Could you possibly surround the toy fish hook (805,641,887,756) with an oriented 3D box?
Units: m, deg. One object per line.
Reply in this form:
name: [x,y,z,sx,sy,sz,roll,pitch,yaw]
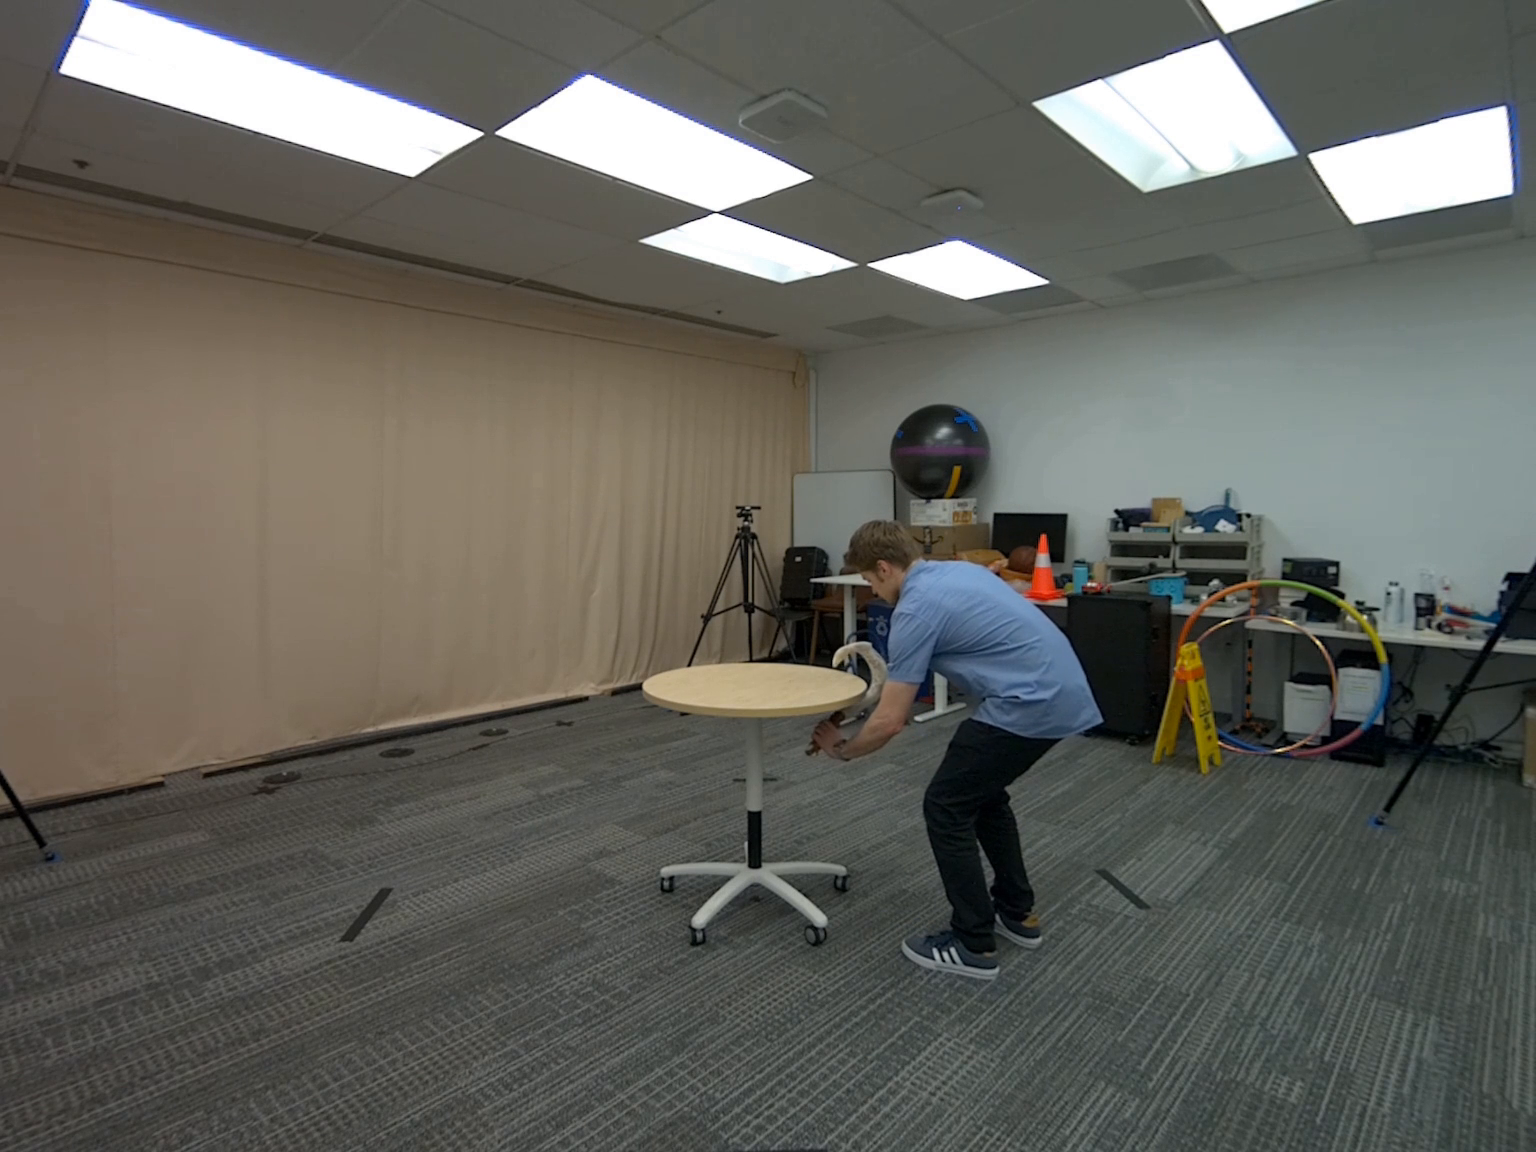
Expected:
toy fish hook: [0.257,0.415,2.898,0.500,0.225,0.049,-41,-4,-37]
